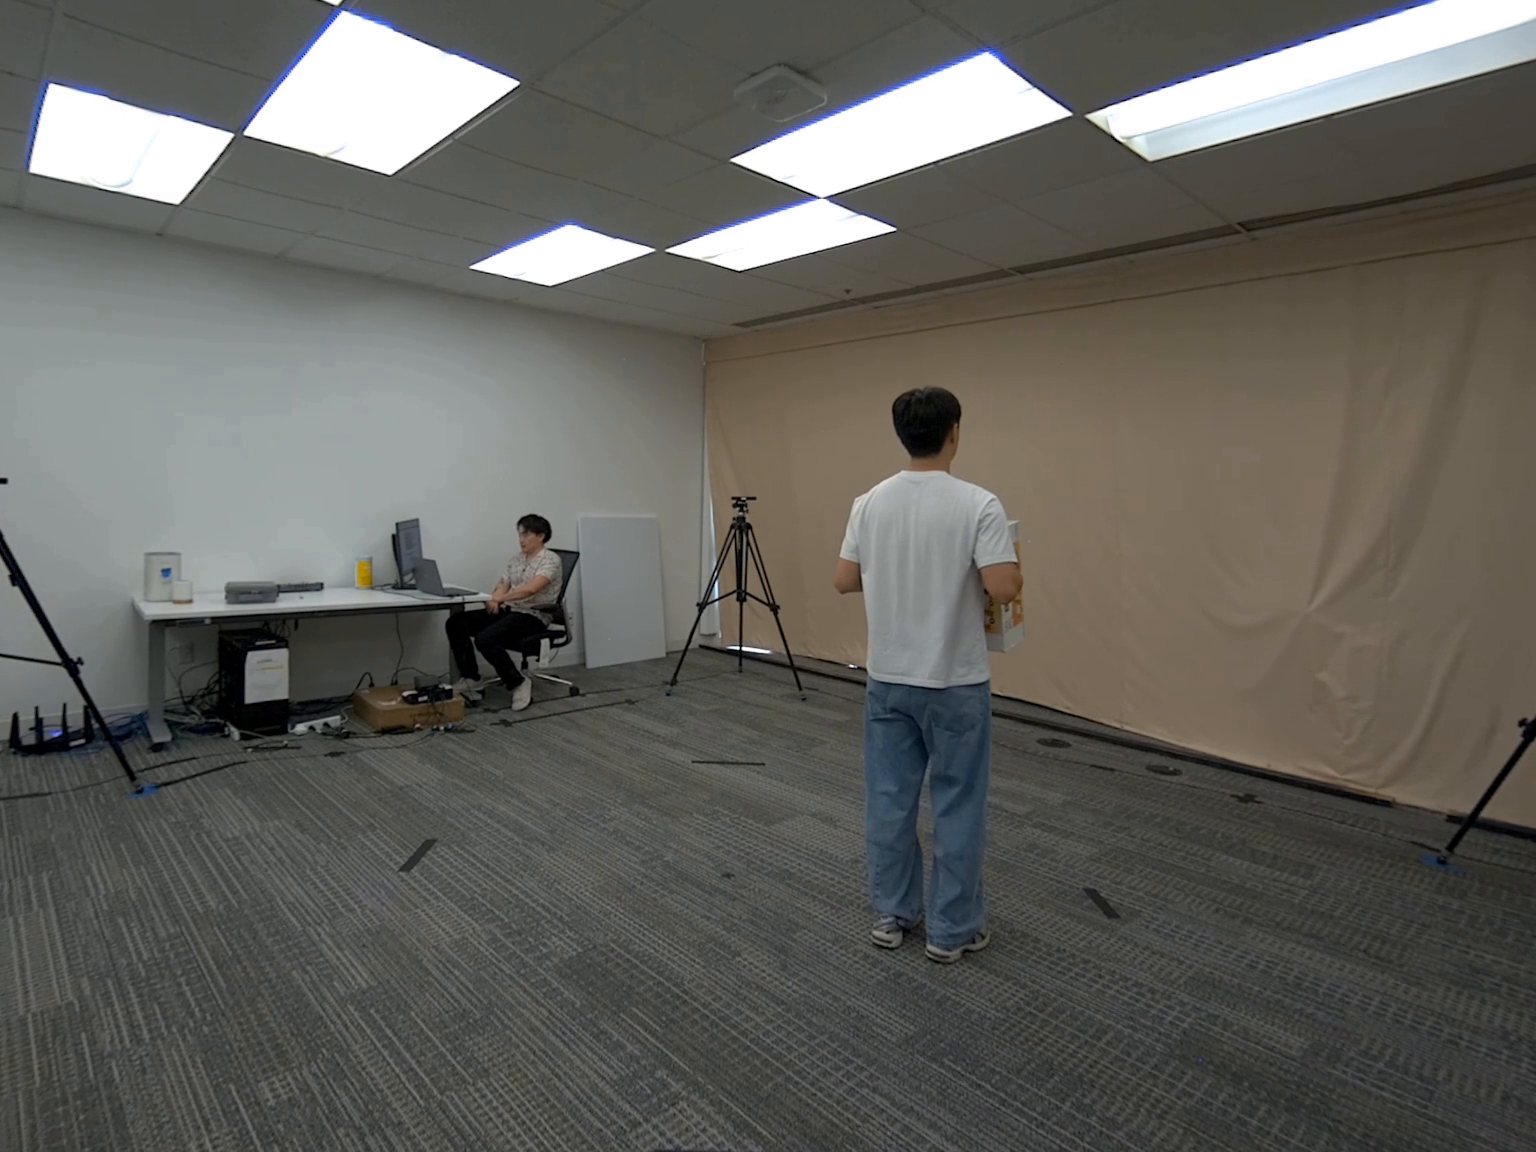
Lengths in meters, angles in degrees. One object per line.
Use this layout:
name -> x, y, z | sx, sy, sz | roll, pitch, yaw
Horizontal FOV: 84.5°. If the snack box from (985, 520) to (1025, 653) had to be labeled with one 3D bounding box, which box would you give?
snack box -> 0.671, 0.033, 2.870 | 0.348, 0.402, 0.202 | 2, 11, 39
